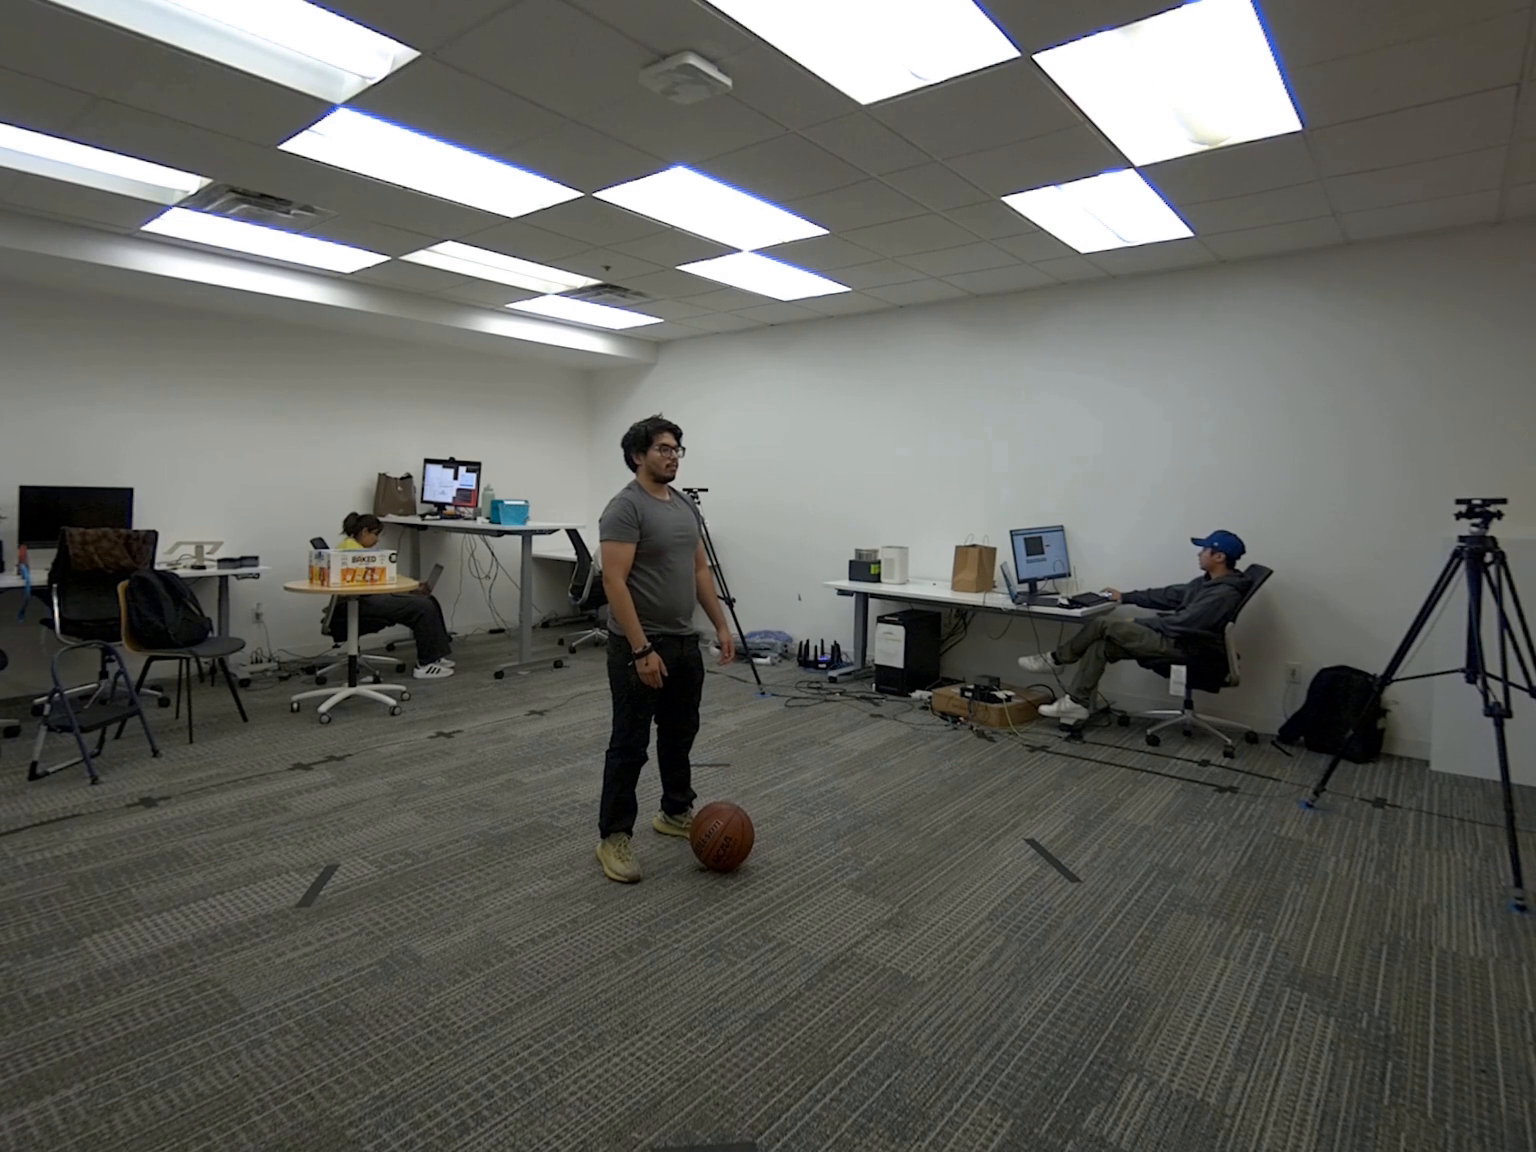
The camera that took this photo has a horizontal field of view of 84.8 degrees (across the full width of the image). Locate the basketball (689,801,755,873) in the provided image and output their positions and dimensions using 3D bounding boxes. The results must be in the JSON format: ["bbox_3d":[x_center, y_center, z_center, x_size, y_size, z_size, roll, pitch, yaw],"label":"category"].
[{"bbox_3d":[-0.181,0.947,3.122,0.235,0.235,0.237,1,4,-2],"label":"basketball"}]
